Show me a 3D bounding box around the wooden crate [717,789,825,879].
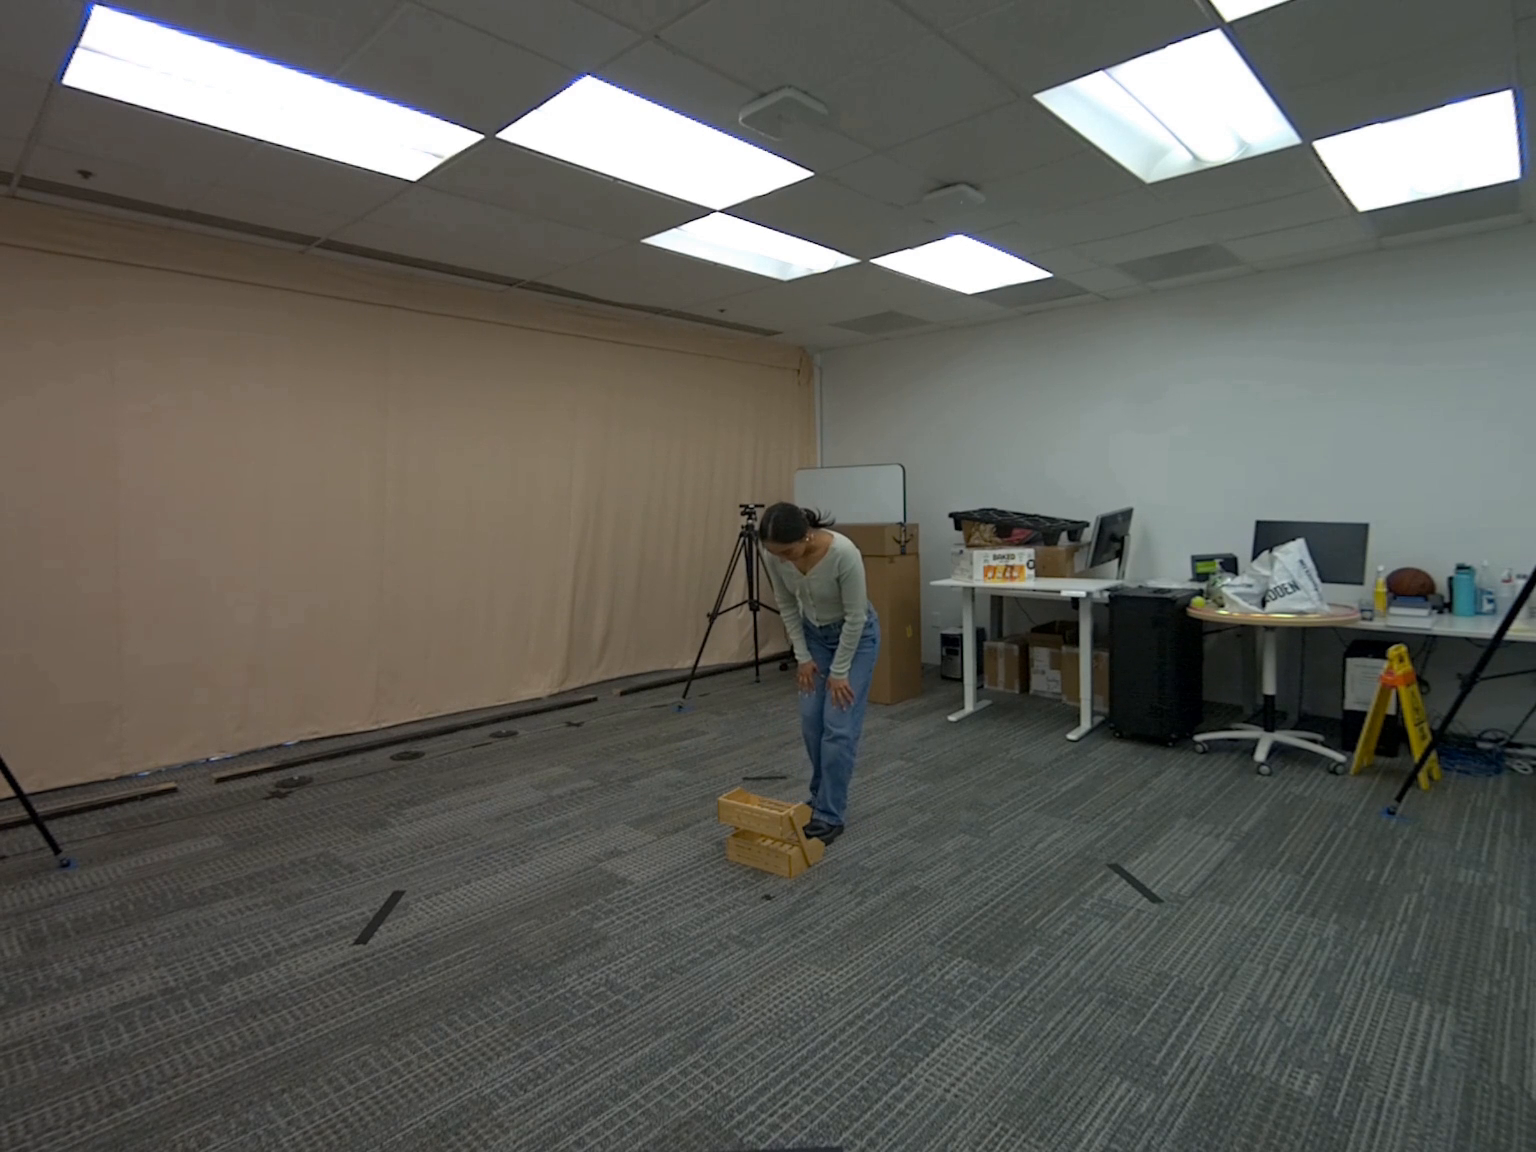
[{"bbox_3d":[0.016,0.978,3.287,0.335,0.272,0.293,2,6,35],"label":"wooden crate"}]
